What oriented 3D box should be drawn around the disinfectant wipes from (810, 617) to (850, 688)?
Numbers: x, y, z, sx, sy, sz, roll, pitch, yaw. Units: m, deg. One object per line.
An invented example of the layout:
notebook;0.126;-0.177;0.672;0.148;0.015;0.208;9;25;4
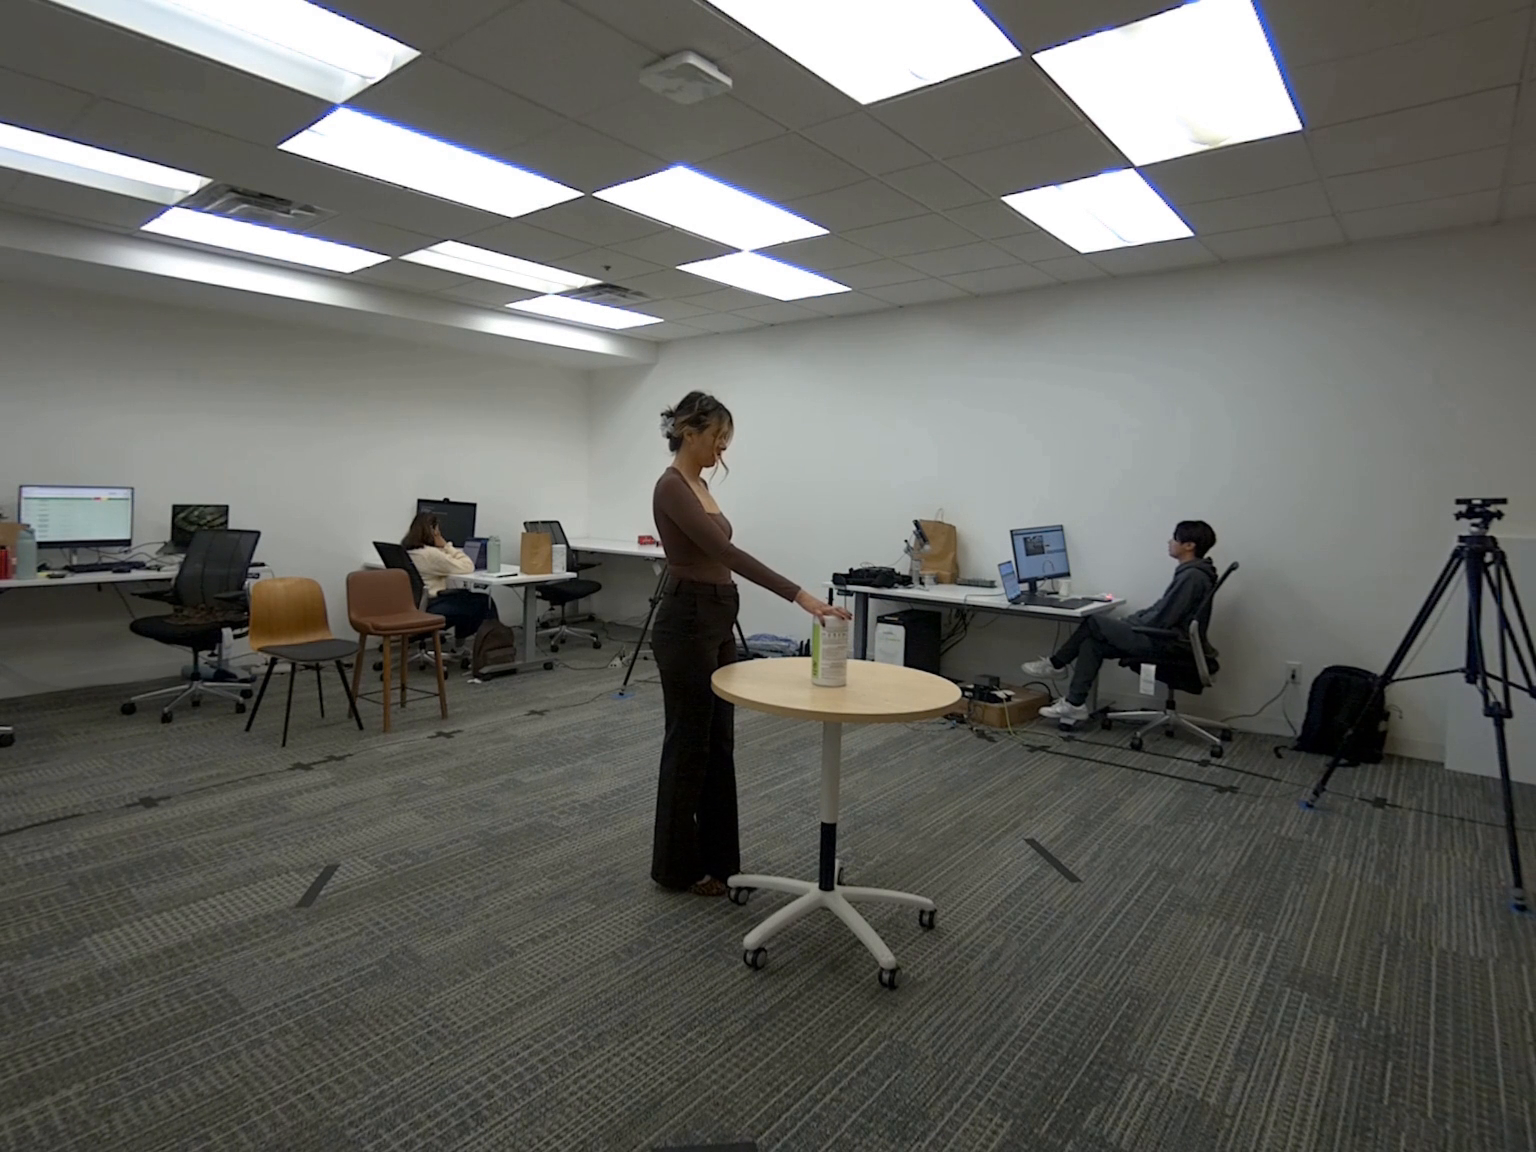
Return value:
disinfectant wipes;0.187;0.222;2.614;0.118;0.217;0.118;-2;2;-2
